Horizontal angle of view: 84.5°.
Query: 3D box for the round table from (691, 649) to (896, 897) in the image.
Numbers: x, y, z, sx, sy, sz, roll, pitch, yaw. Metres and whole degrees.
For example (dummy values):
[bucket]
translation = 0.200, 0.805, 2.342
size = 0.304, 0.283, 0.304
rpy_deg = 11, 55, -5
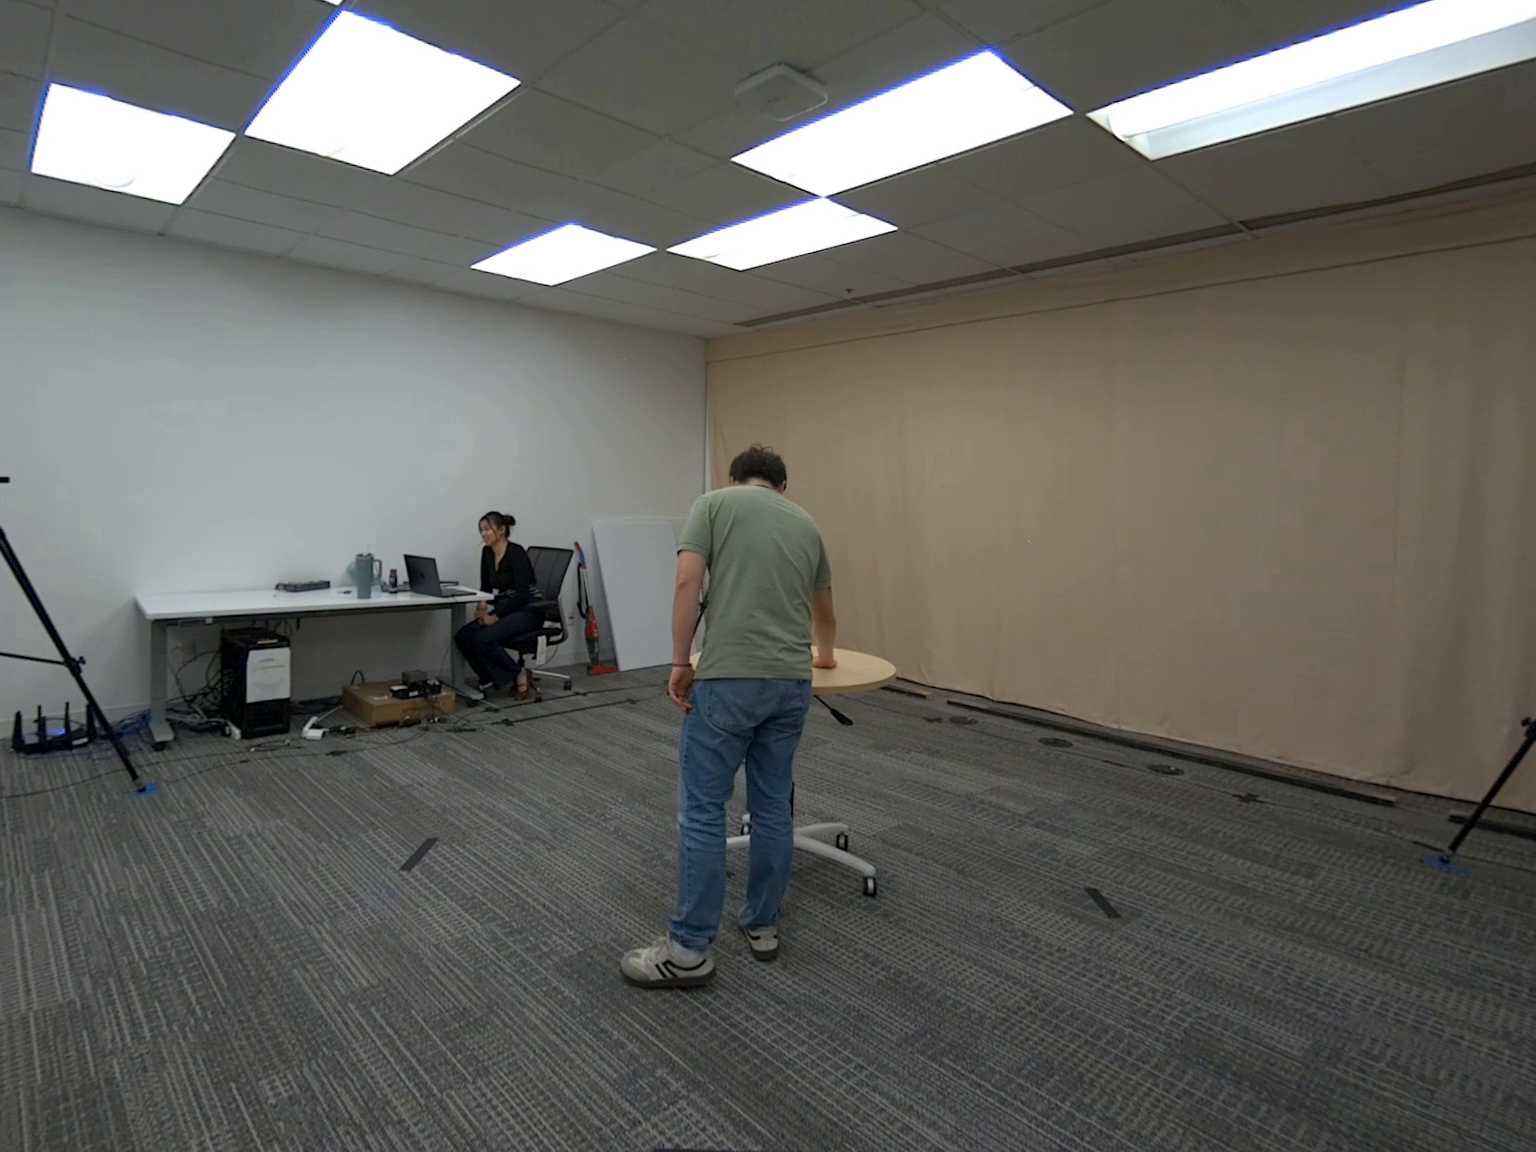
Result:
[round table]
translation = 0.071, 0.719, 3.137
size = 0.763, 0.792, 0.767
rpy_deg = 1, 4, -1
